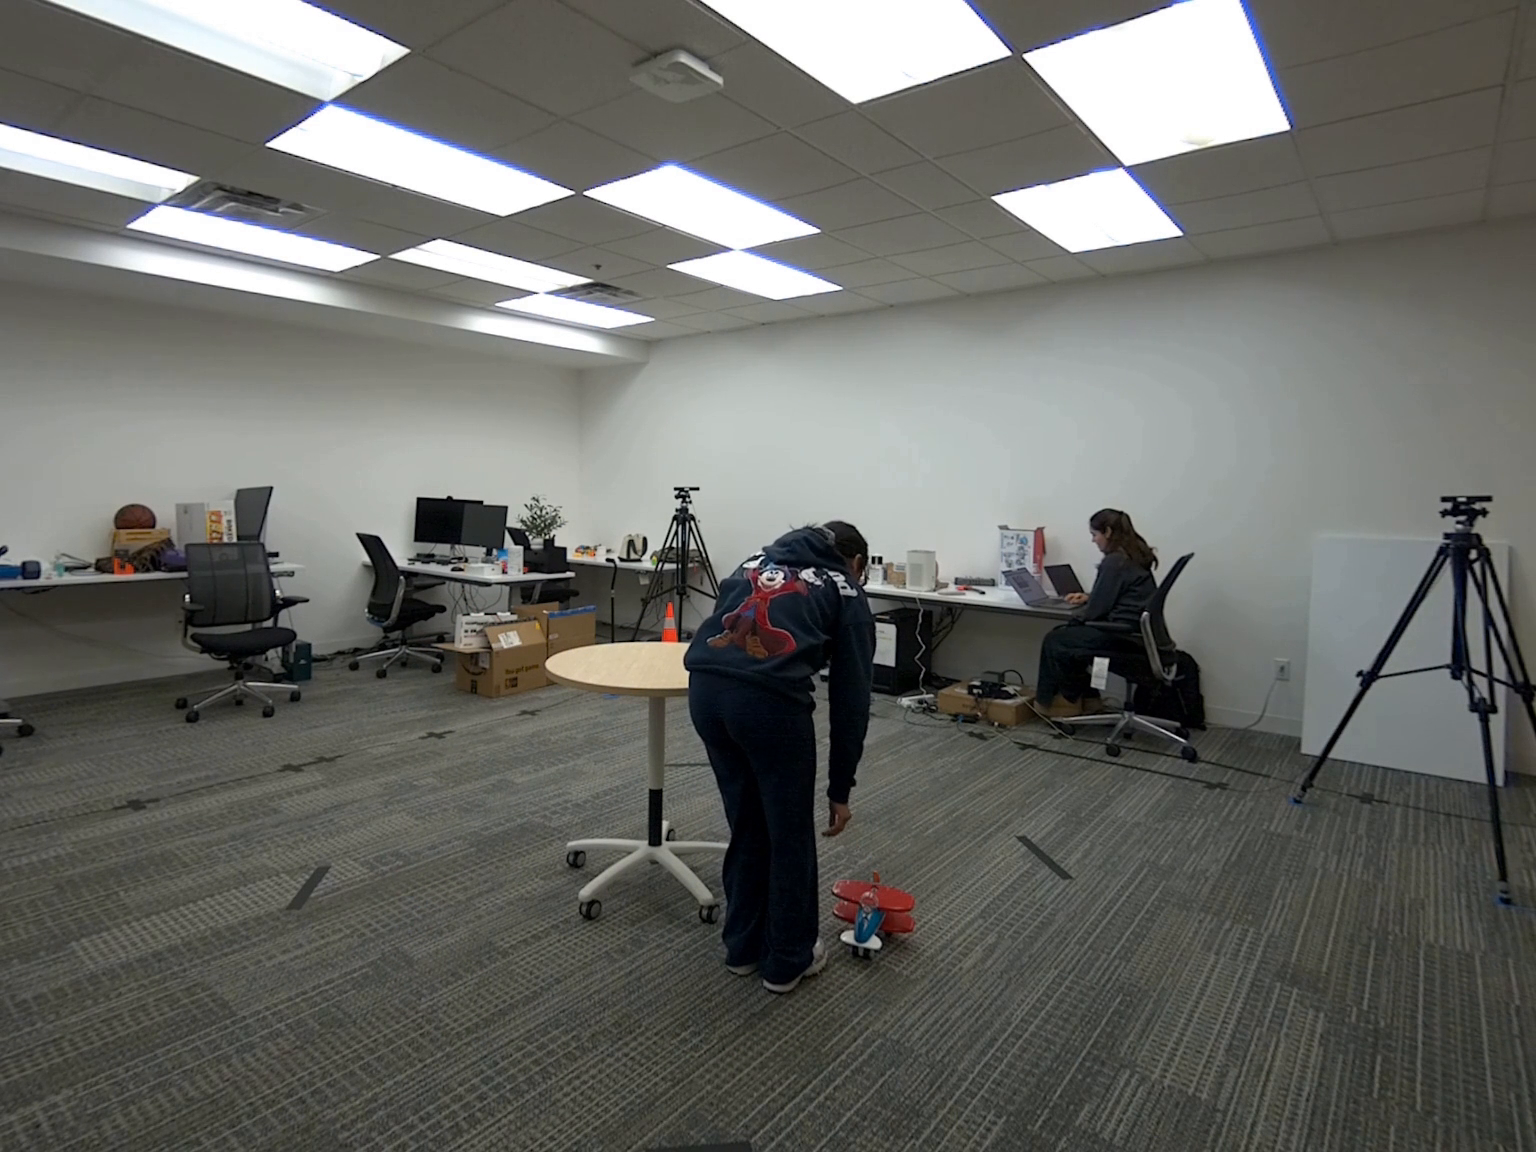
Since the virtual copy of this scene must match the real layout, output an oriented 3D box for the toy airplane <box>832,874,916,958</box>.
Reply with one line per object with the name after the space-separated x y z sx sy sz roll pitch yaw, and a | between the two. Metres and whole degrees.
0.324 1.051 2.616 0.250 0.156 0.261 0 3 -6 | toy airplane
